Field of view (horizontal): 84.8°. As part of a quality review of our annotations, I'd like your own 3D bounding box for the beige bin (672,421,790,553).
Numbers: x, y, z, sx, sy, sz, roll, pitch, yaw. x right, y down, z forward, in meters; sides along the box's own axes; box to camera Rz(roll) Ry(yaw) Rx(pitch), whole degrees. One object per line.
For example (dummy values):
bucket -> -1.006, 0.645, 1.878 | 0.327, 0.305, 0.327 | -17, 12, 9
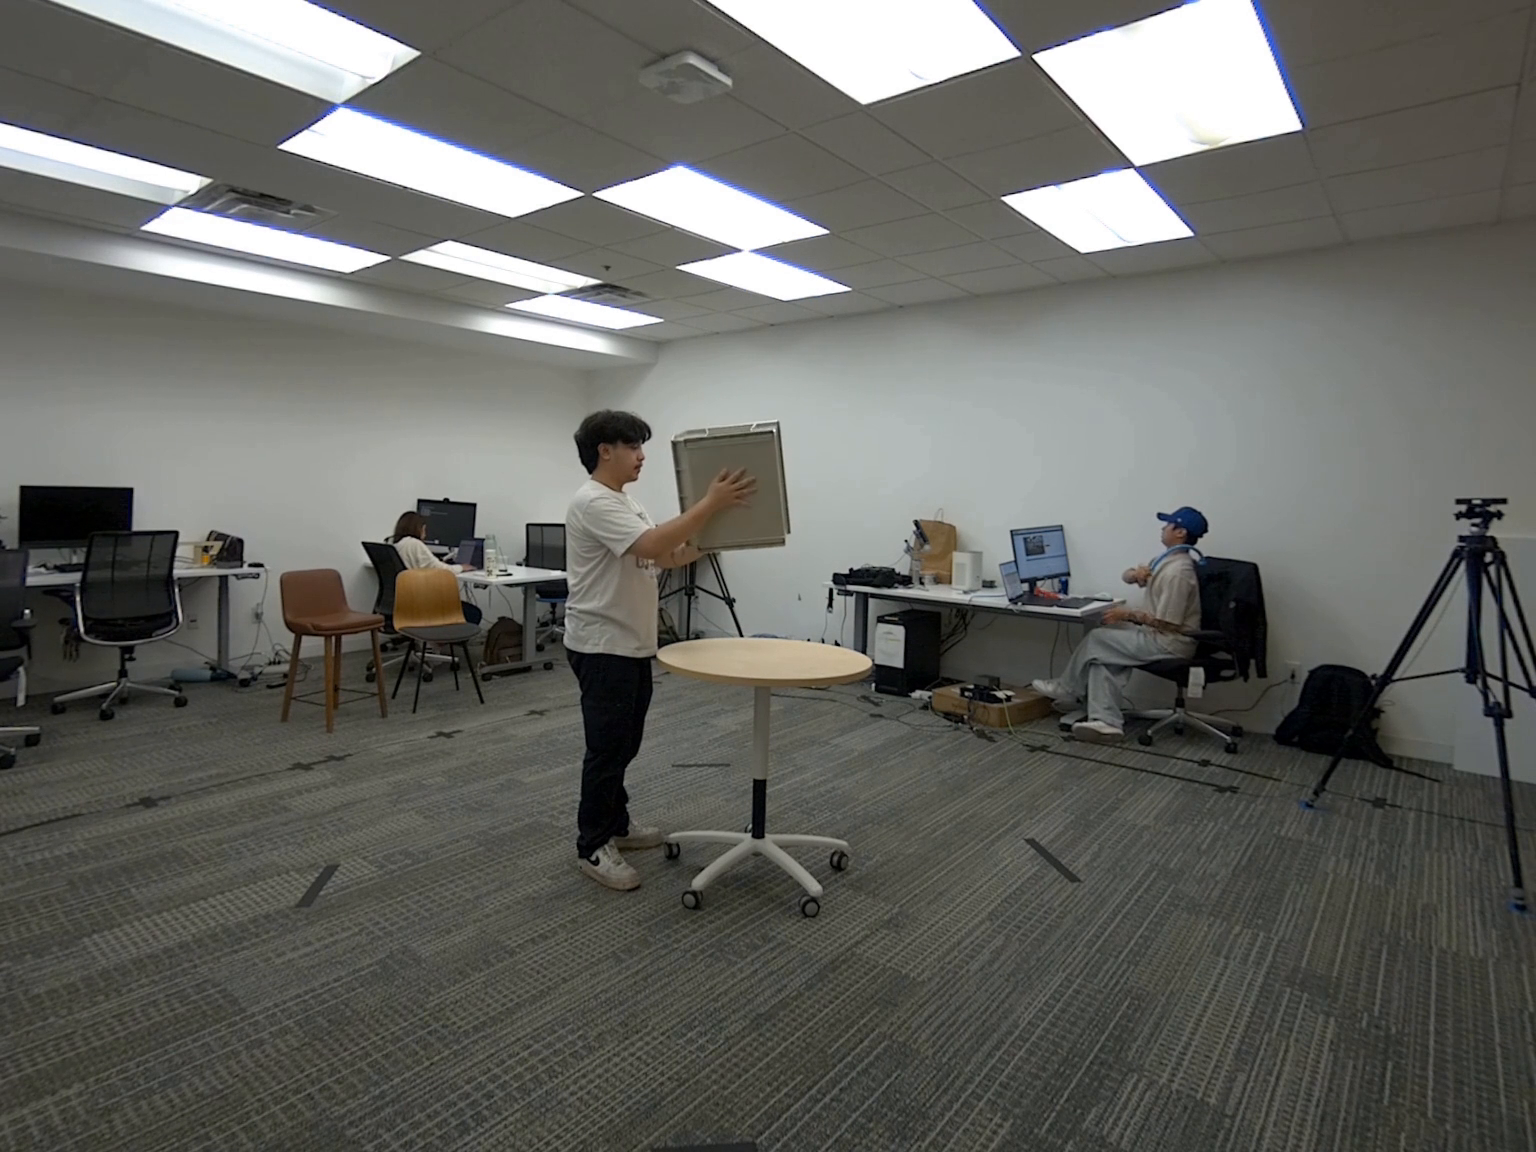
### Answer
beige bin -> -0.141, -0.321, 3.044 | 0.380, 0.415, 0.190 | -4, 15, 8
